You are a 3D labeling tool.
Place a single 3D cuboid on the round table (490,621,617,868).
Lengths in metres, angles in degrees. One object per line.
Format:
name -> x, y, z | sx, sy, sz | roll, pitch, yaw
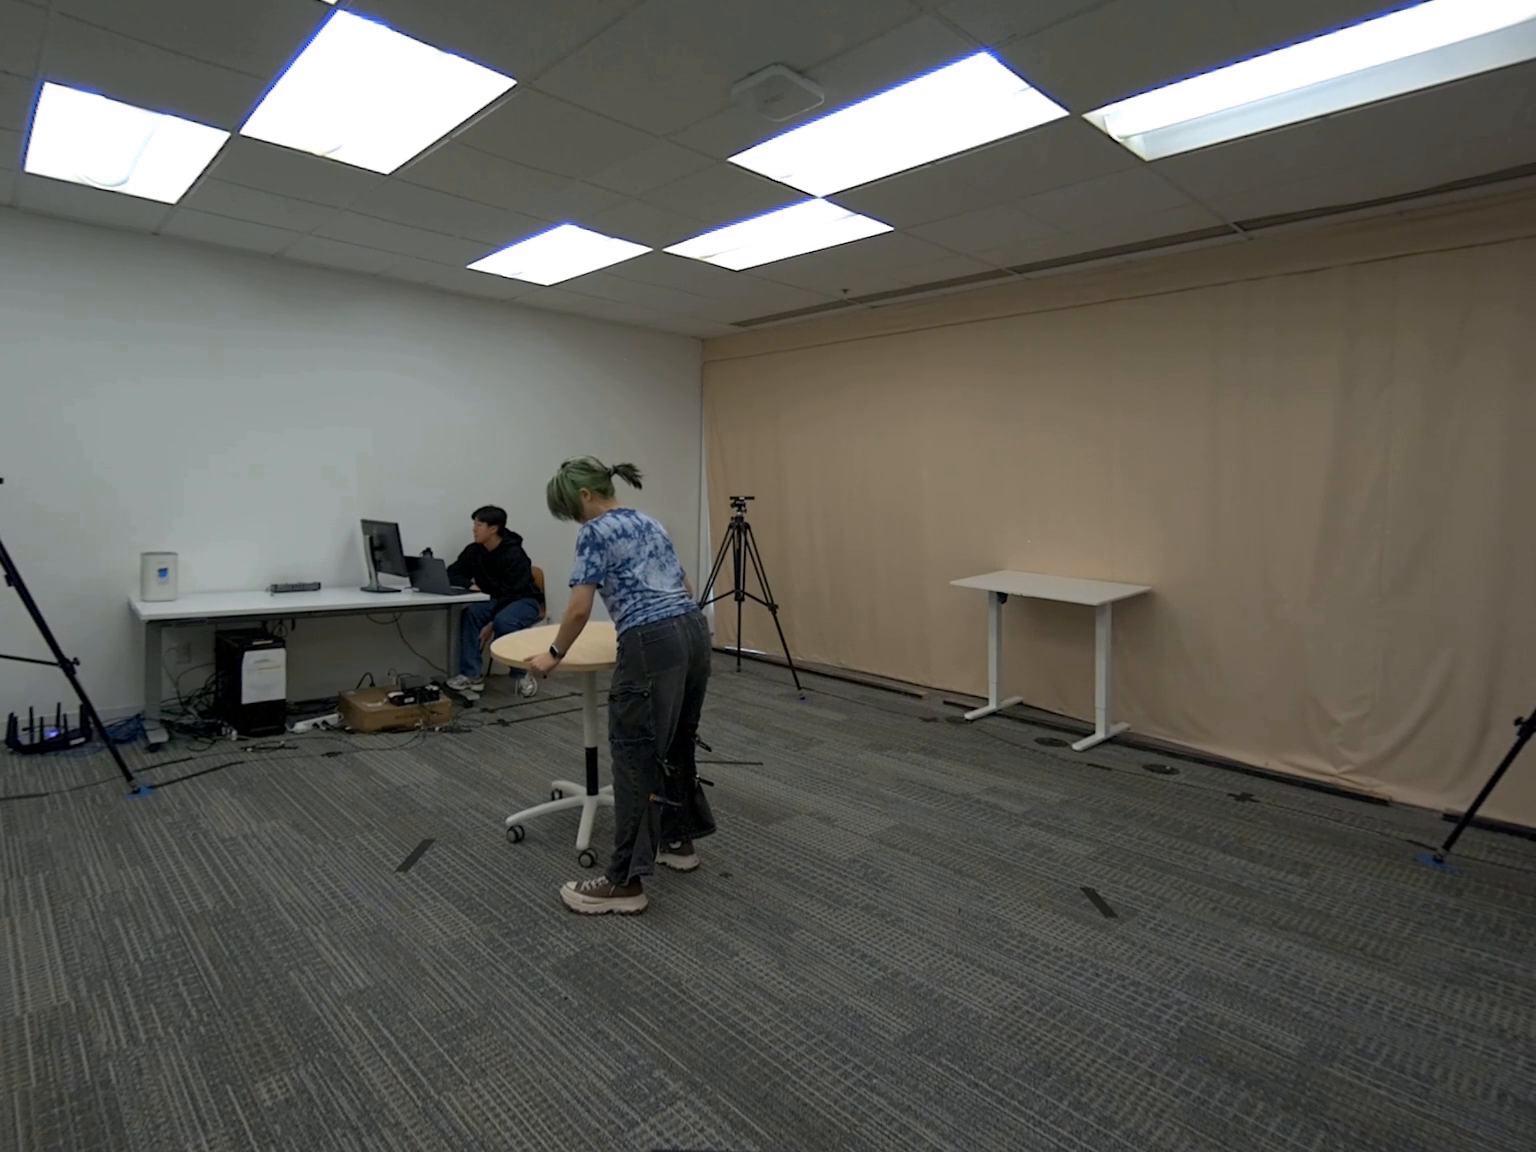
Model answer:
round table -> -0.737, 0.656, 3.454 | 0.763, 0.790, 0.768 | -1, 7, -1
